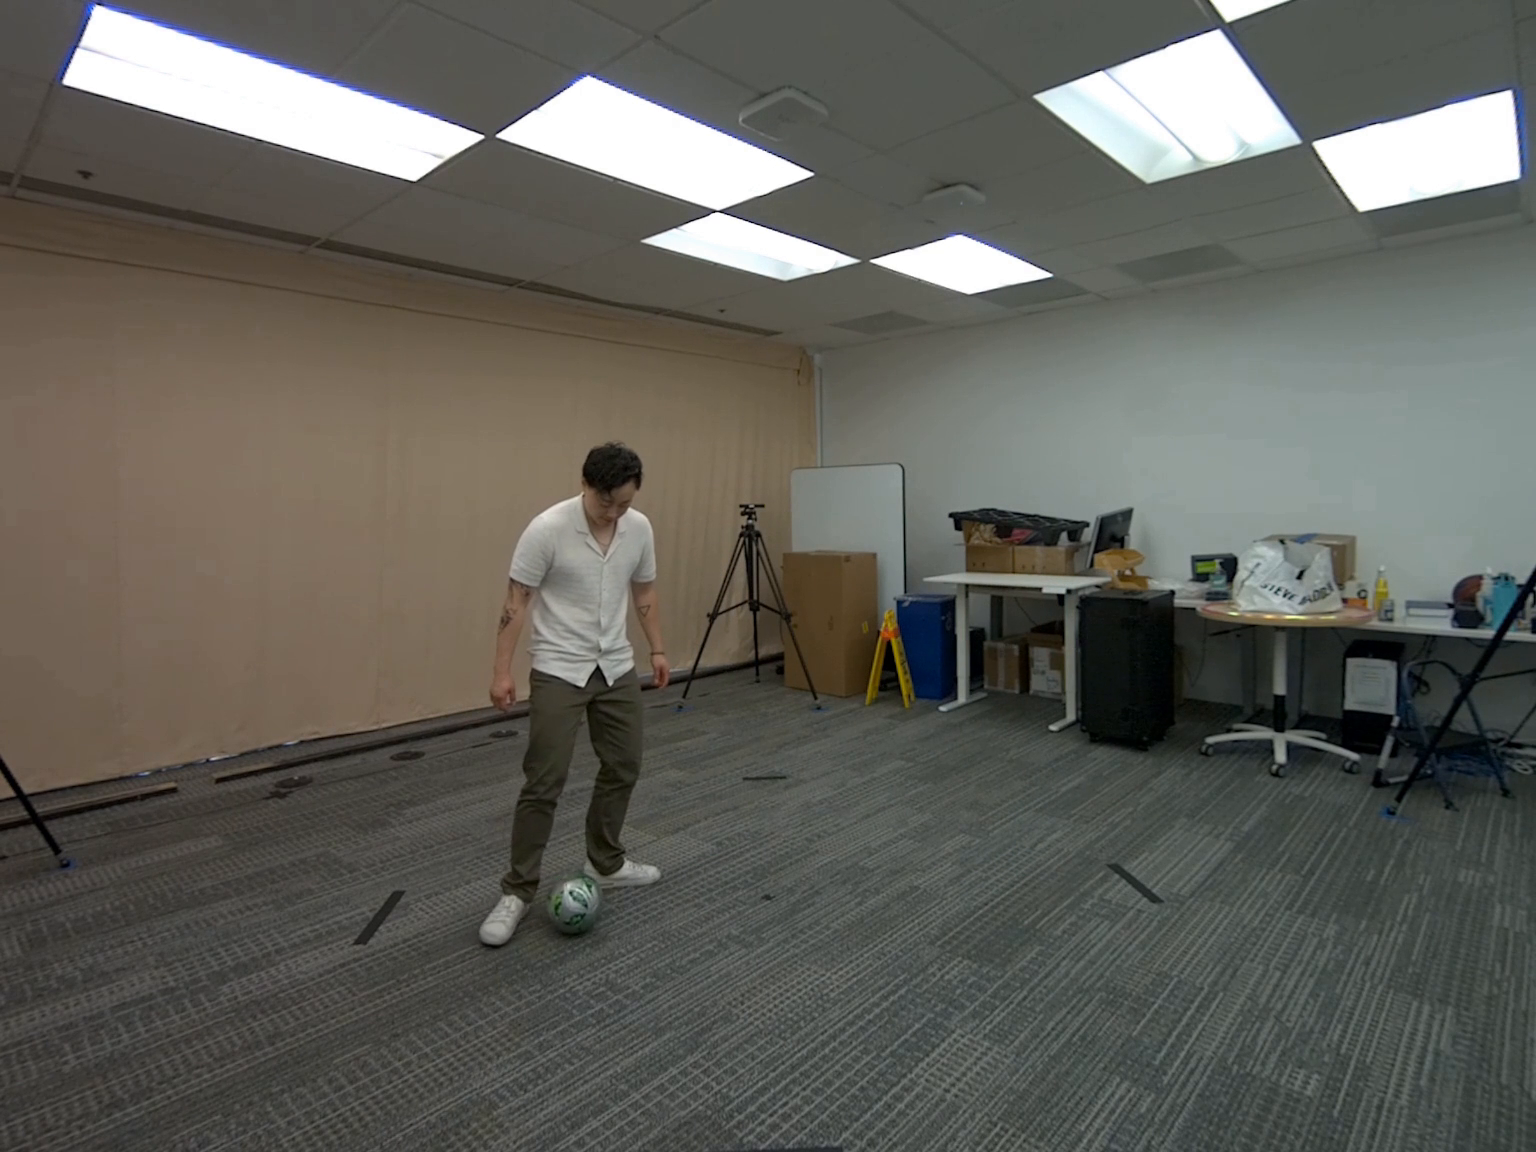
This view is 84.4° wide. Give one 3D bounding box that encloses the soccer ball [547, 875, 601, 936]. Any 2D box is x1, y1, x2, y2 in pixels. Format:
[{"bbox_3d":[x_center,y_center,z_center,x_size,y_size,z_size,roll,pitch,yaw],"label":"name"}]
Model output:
[{"bbox_3d":[-0.636,1.072,2.780,0.187,0.187,0.188,-1,4,-2],"label":"soccer ball"}]
